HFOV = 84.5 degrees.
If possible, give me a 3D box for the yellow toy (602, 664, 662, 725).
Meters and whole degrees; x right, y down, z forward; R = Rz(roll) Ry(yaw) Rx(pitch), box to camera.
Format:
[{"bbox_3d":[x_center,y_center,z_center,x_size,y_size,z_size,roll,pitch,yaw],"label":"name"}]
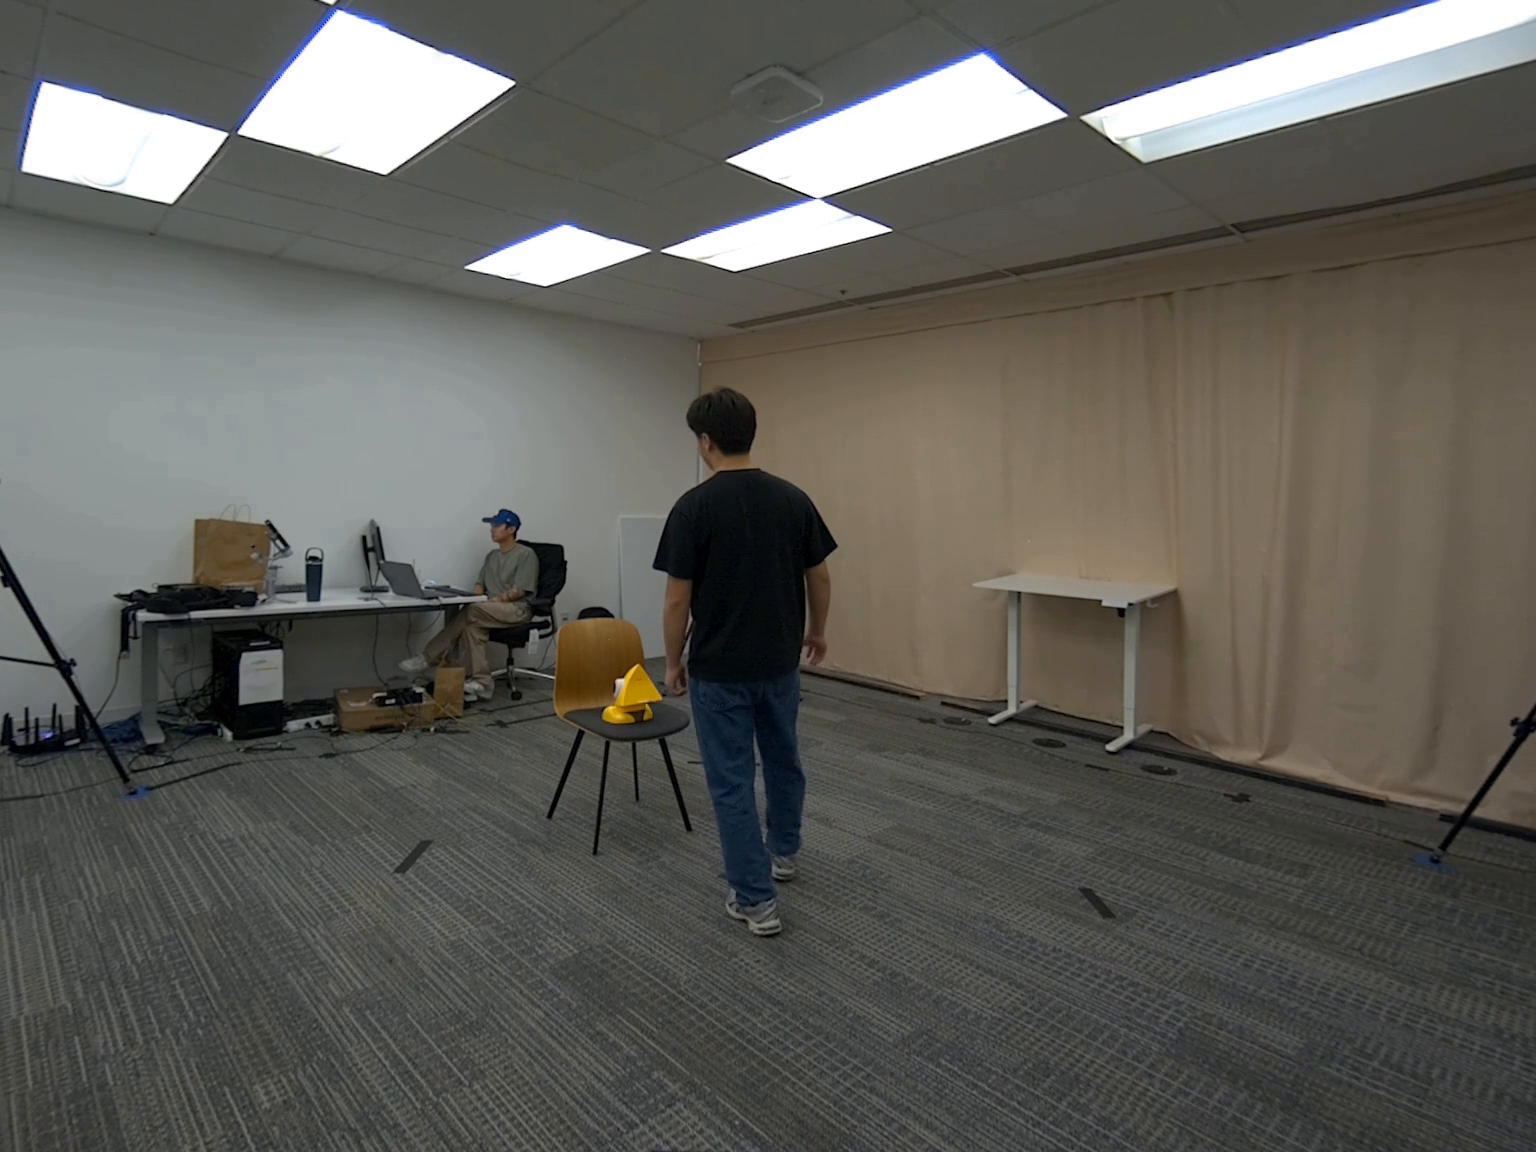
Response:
[{"bbox_3d":[-0.581,0.471,3.460,0.198,0.230,0.200,2,2,45],"label":"yellow toy"}]
